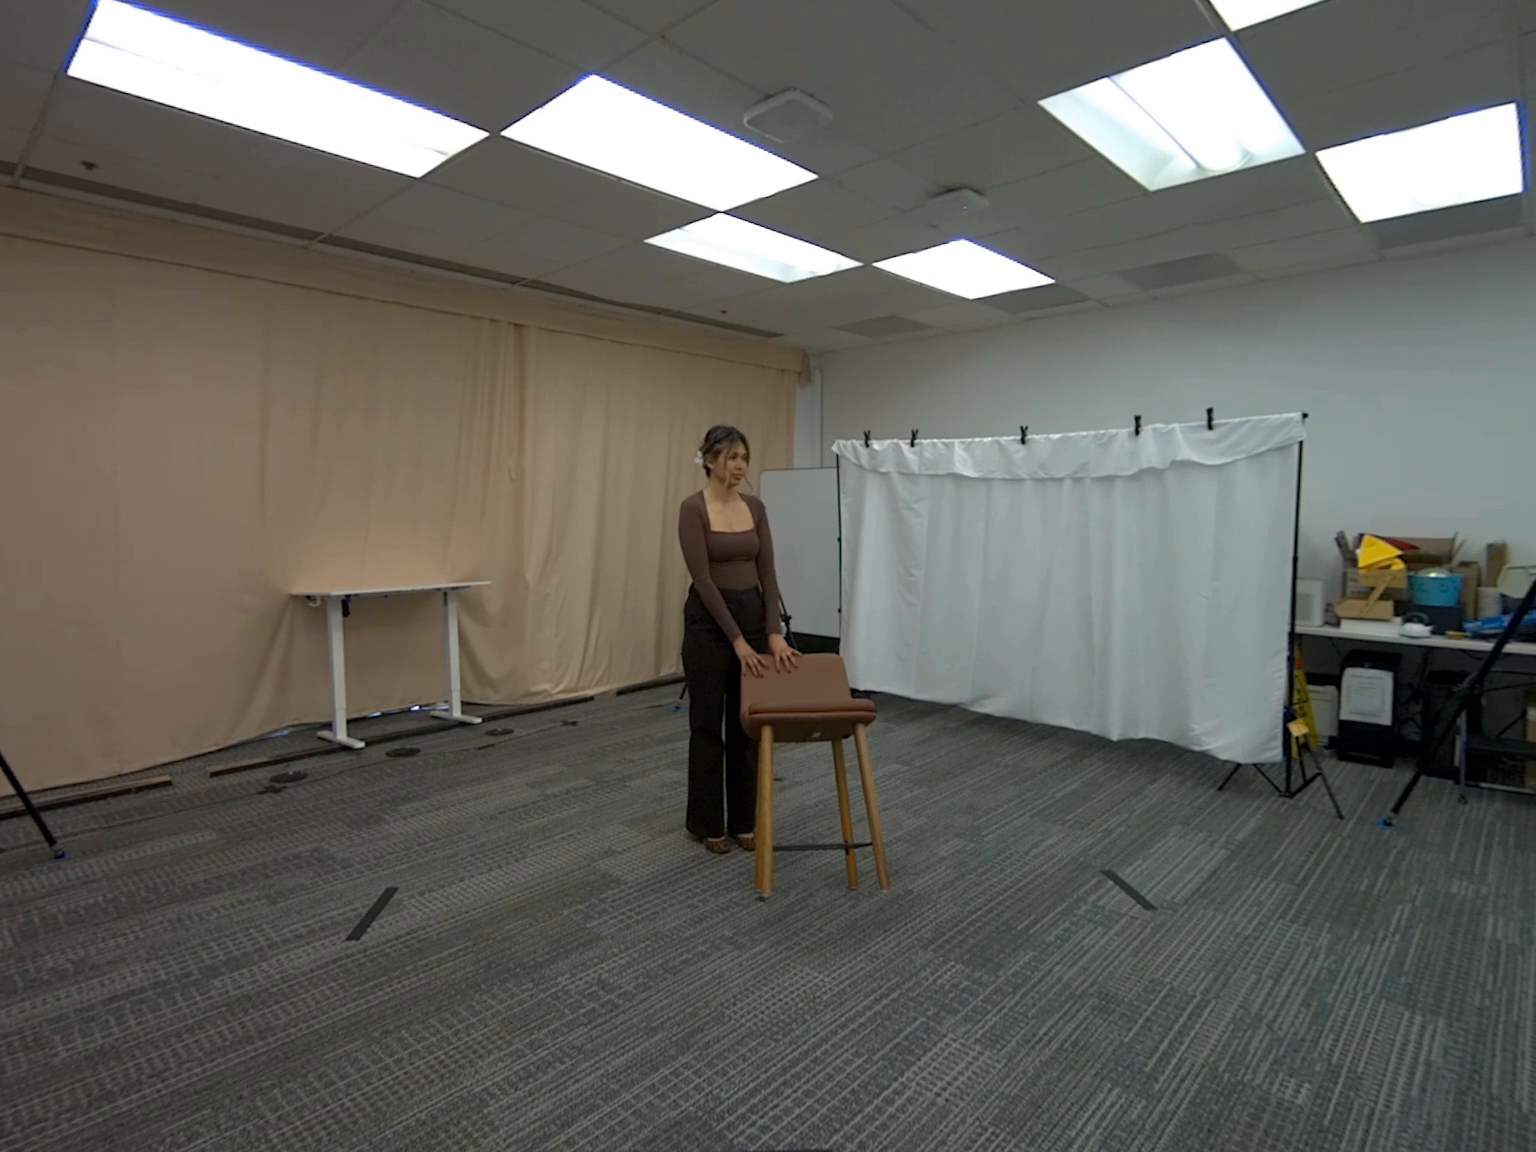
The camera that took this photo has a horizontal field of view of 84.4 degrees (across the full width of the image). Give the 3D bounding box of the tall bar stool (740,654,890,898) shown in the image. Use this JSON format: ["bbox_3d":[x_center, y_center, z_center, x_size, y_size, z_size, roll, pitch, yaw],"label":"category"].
[{"bbox_3d":[0.147,0.658,3.015,0.455,0.902,0.463,-1,-22,-4],"label":"tall bar stool"}]
